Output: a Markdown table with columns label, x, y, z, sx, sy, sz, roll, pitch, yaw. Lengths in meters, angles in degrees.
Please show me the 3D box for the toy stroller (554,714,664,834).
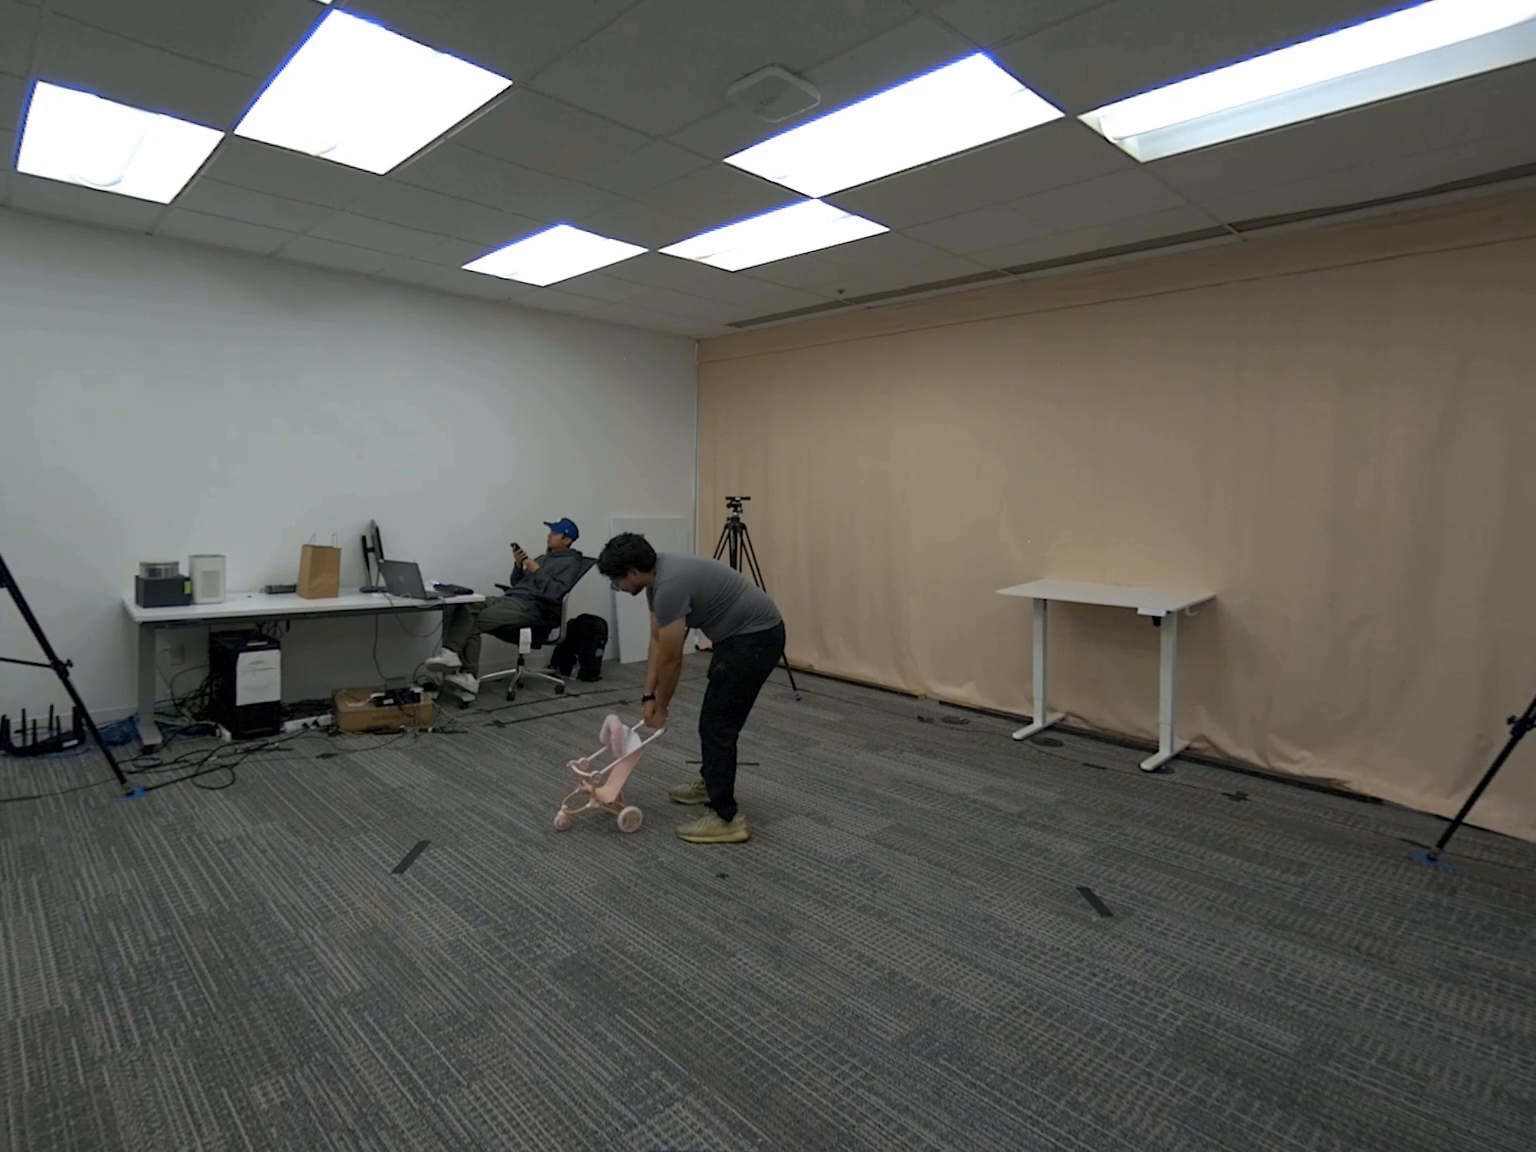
| label | x | y | z | sx | sy | sz | roll | pitch | yaw |
| --- | --- | --- | --- | --- | --- | --- | --- | --- | --- |
| toy stroller | -0.686 | 0.827 | 3.563 | 0.334 | 0.536 | 0.287 | 17 | -3 | -23 |
